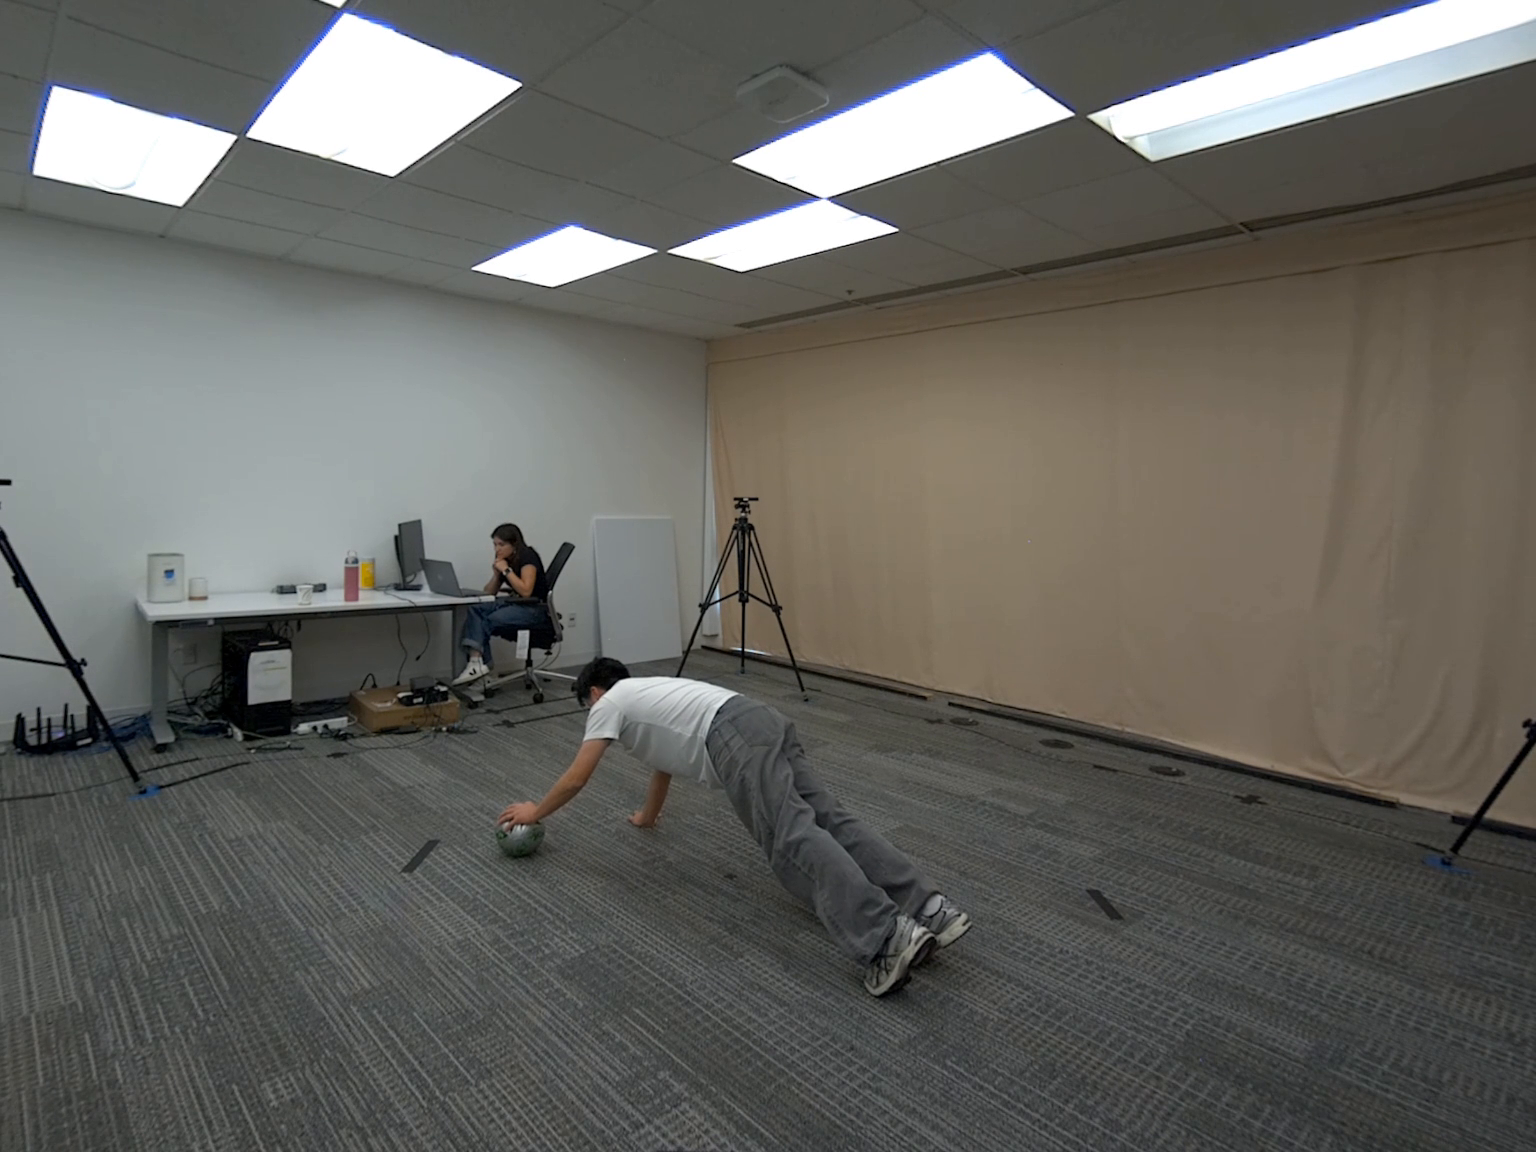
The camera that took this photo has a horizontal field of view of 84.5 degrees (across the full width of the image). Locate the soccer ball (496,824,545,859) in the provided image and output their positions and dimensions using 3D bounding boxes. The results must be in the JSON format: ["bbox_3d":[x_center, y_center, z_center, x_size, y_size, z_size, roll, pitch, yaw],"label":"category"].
[{"bbox_3d":[-0.956,0.983,3.257,0.187,0.187,0.188,1,4,-1],"label":"soccer ball"}]
